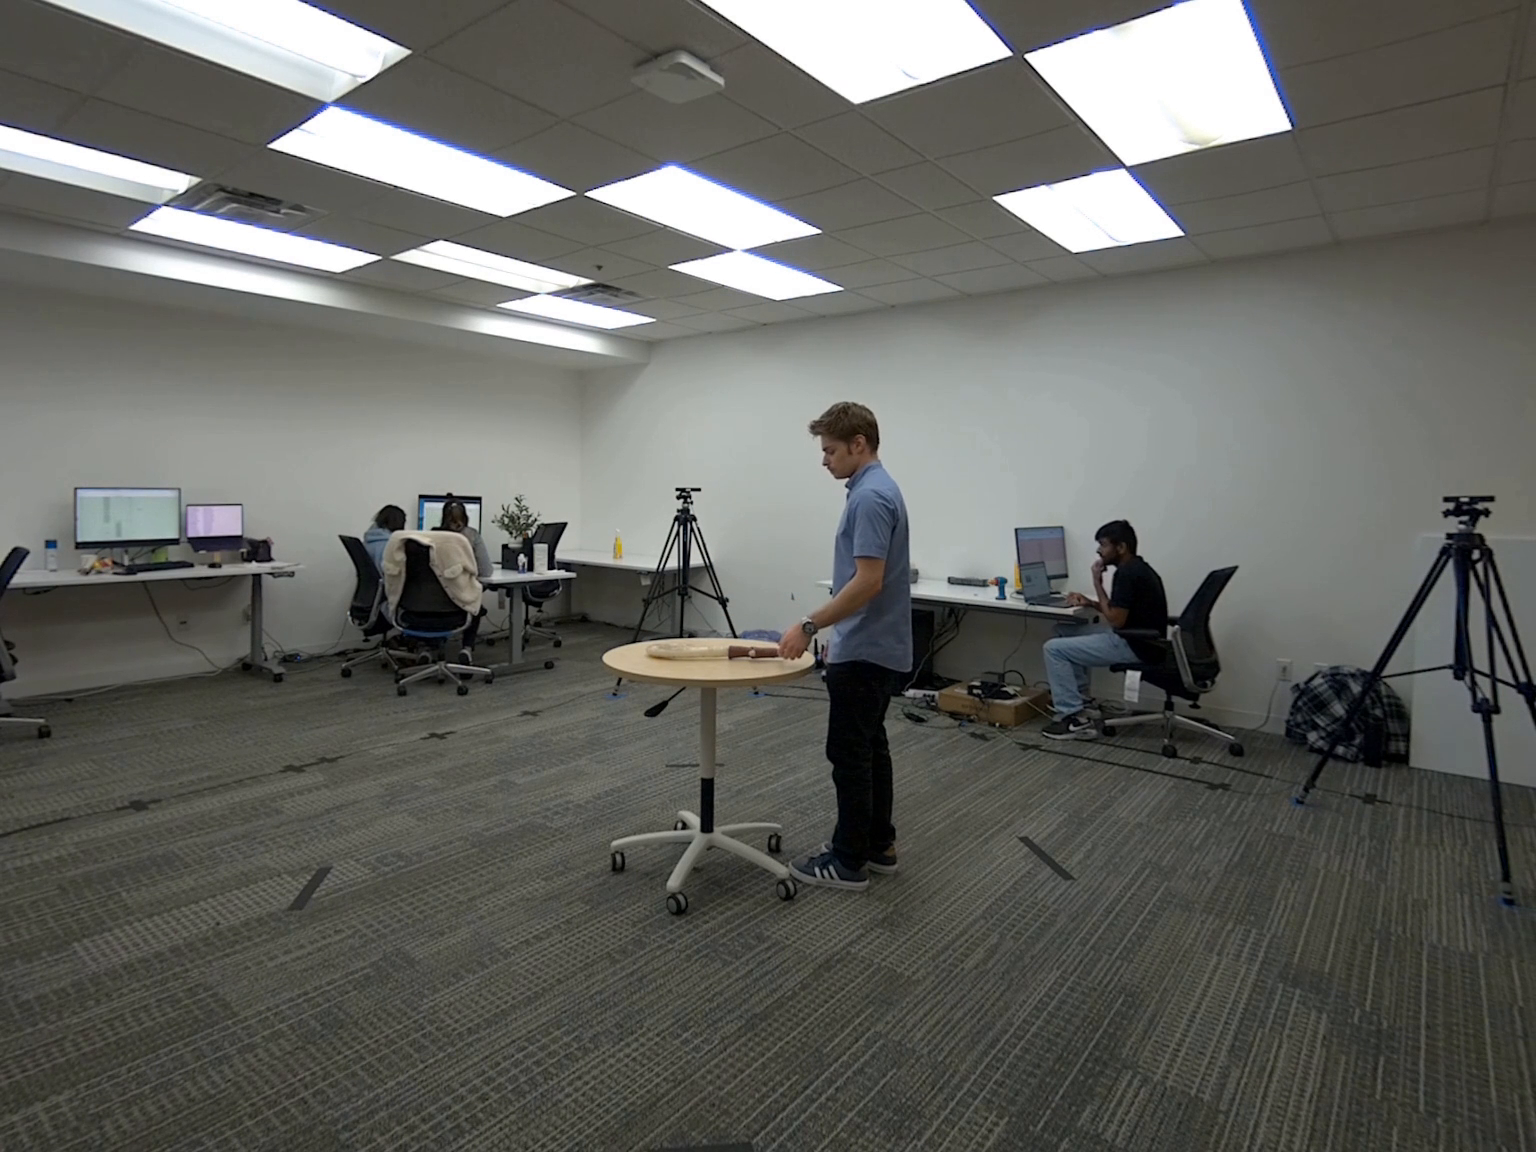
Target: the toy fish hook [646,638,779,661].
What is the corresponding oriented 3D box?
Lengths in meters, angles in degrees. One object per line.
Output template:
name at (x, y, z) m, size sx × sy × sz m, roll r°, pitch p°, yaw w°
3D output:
toy fish hook at (-0.198, 0.261, 3.084) m, size 0.511 × 0.048 × 0.225 m, roll 1°, pitch 11°, yaw 7°
